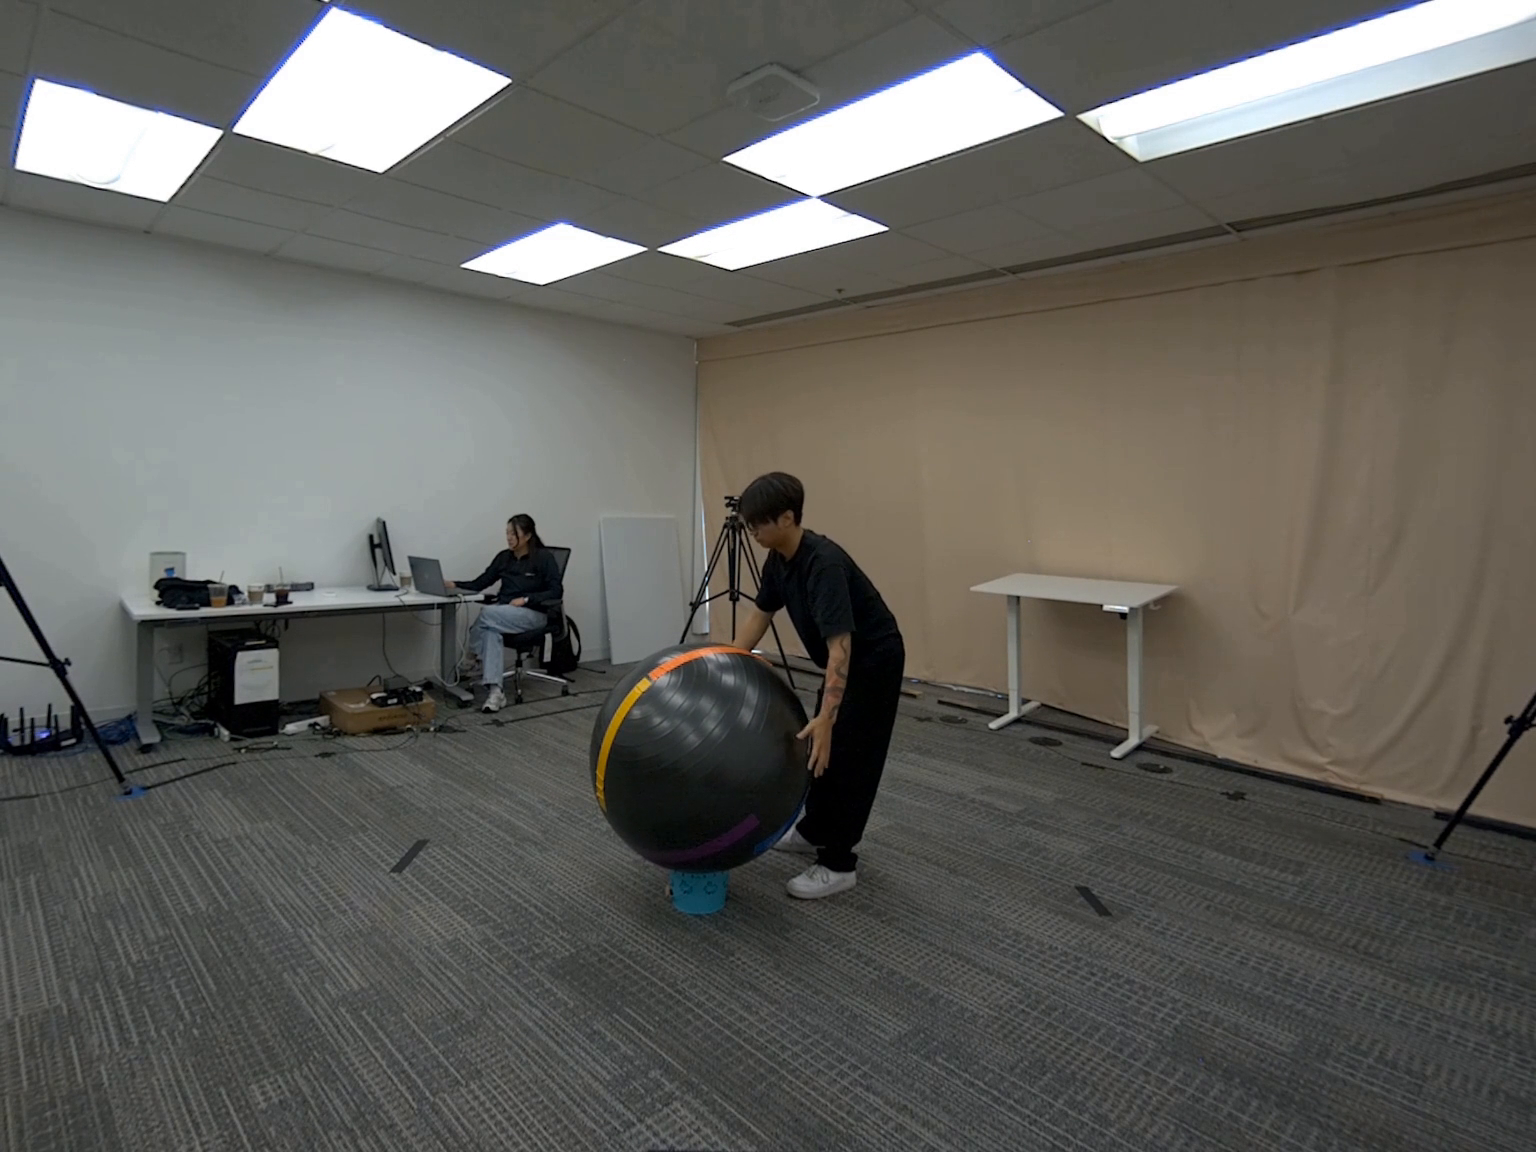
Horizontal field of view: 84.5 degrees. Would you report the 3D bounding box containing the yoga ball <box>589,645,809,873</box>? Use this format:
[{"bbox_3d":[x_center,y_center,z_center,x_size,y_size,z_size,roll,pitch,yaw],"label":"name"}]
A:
[{"bbox_3d":[-0.228,0.614,2.864,0.757,0.756,0.761,1,4,-1],"label":"yoga ball"}]
